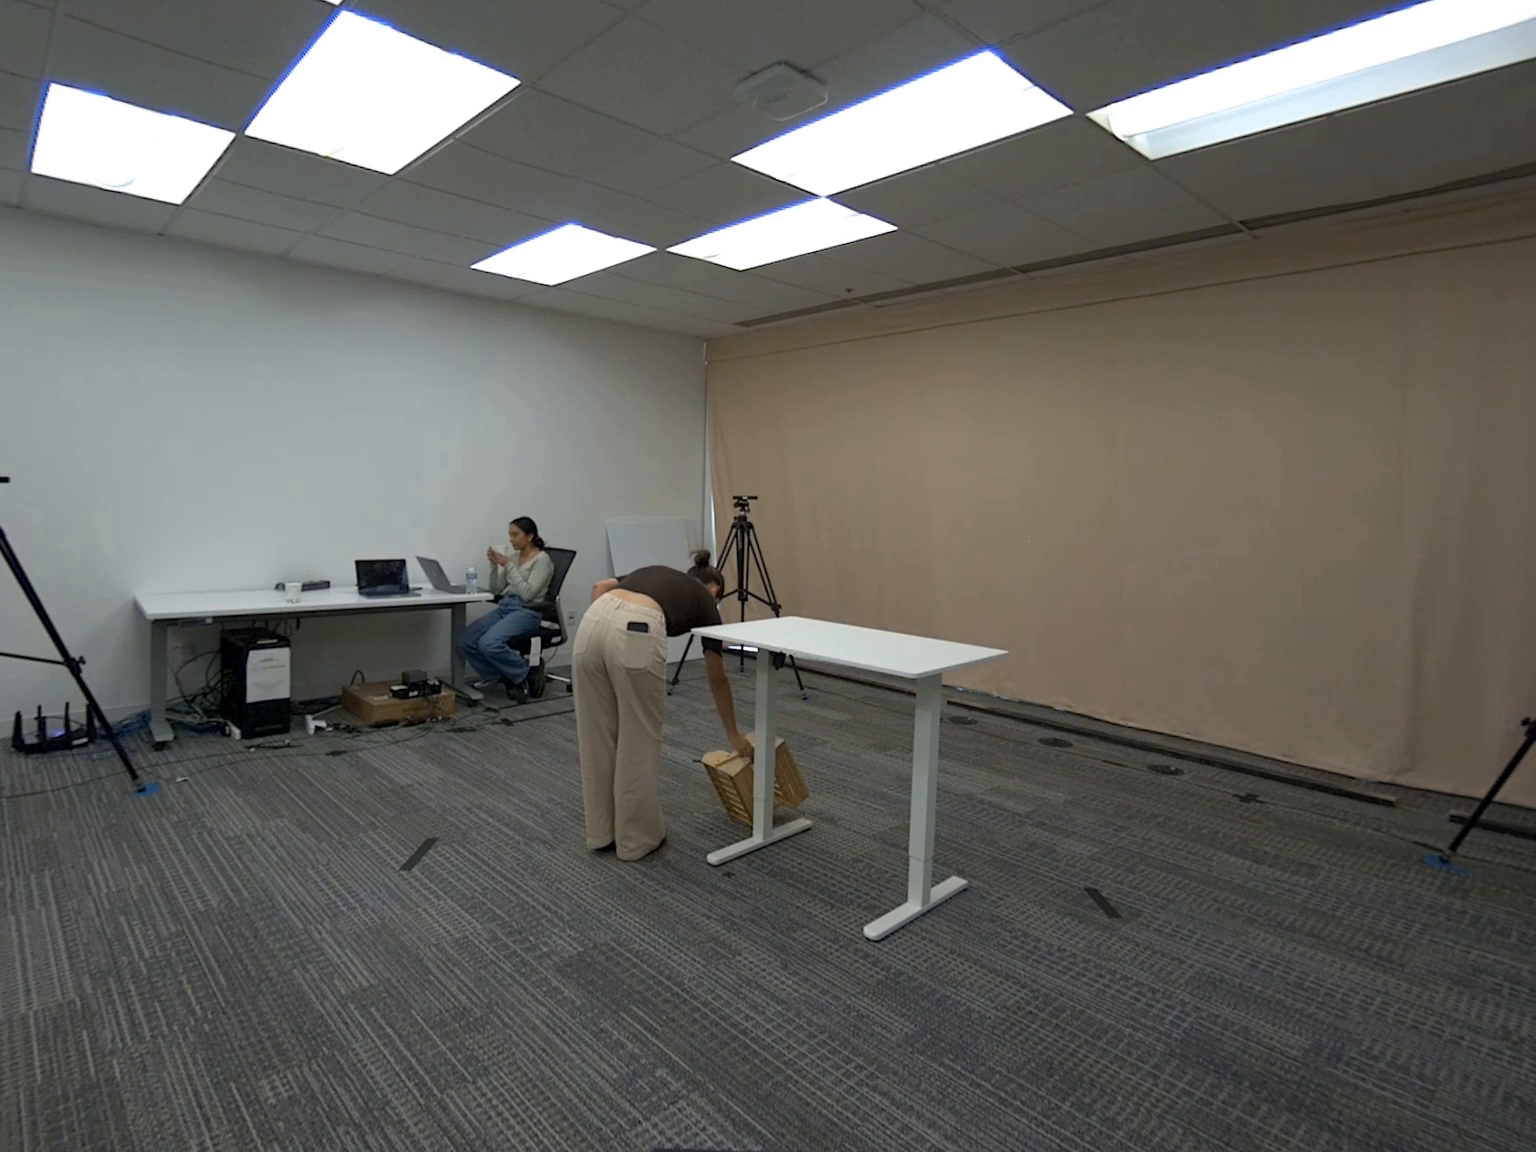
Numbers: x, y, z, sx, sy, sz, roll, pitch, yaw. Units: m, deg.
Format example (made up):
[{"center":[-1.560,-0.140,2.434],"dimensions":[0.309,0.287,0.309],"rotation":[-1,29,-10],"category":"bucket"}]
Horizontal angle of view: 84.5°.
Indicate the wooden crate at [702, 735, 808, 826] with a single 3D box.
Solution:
[{"center":[-0.069,0.857,3.617],"dimensions":[0.272,0.318,0.310],"rotation":[-36,26,-29],"category":"wooden crate"}]
